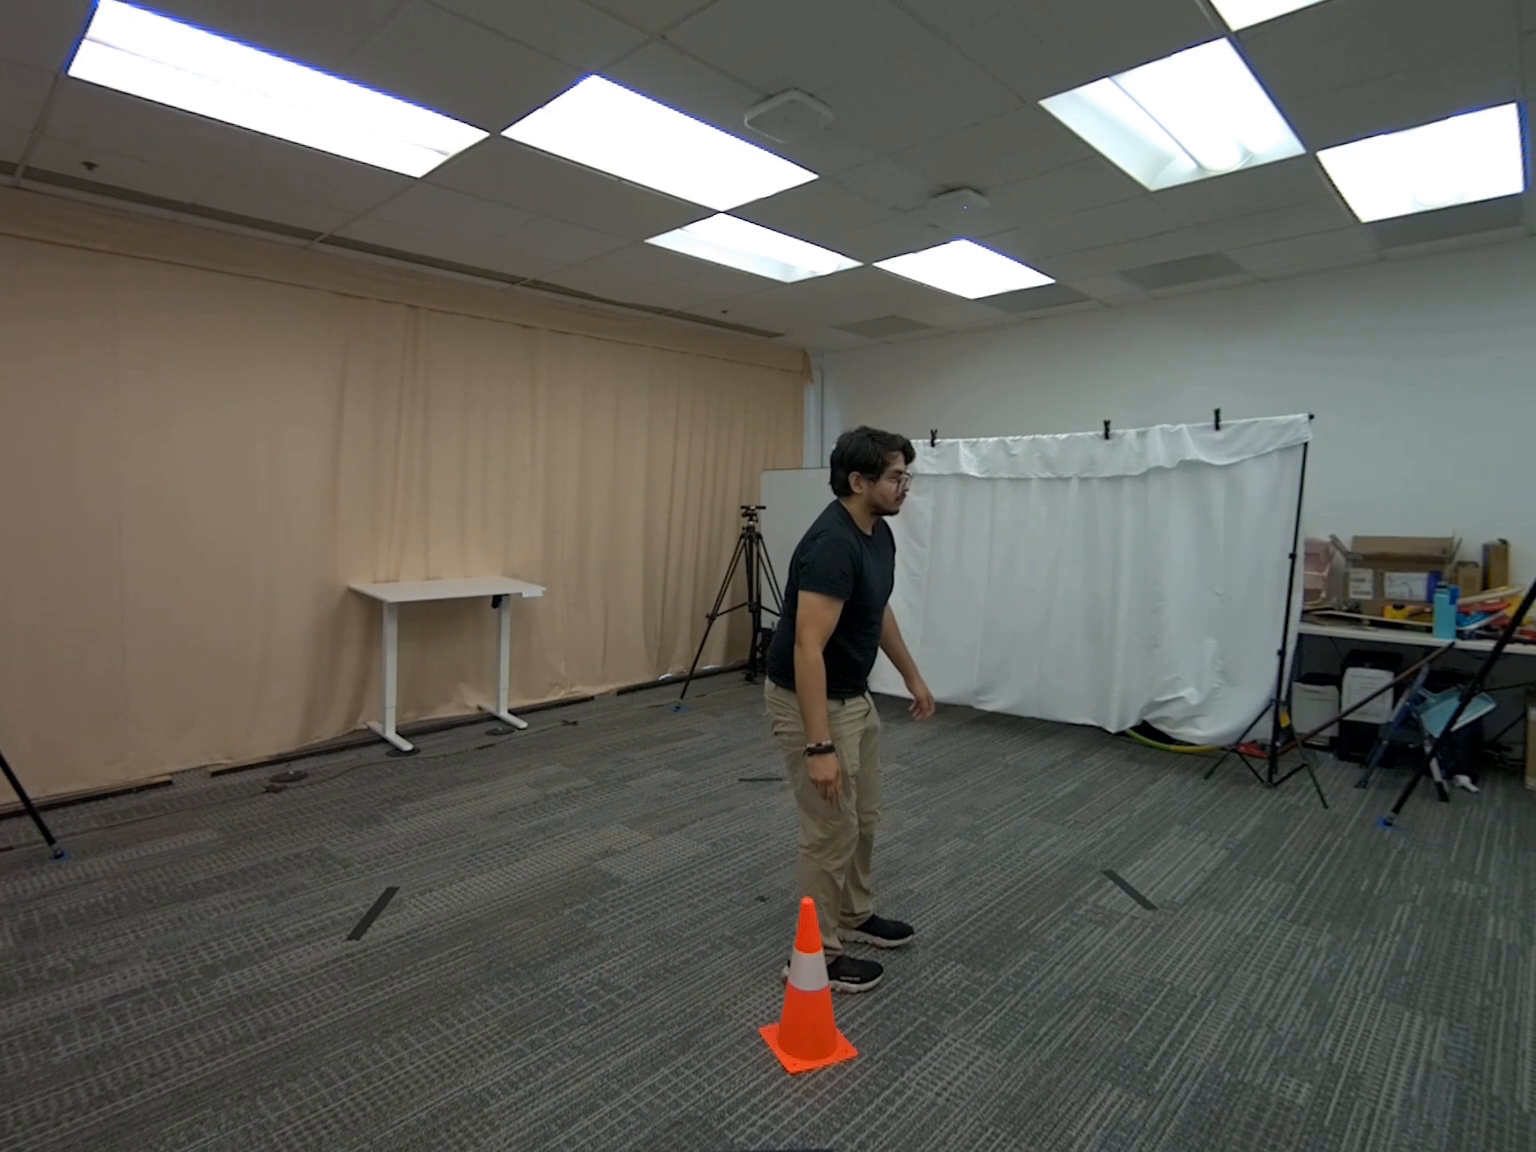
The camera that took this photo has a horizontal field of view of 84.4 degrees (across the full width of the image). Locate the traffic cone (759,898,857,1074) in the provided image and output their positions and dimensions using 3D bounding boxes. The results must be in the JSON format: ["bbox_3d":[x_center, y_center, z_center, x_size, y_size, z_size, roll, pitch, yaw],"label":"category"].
[{"bbox_3d":[0.105,1.028,2.171,0.200,0.383,0.208,-2,3,-25],"label":"traffic cone"}]
